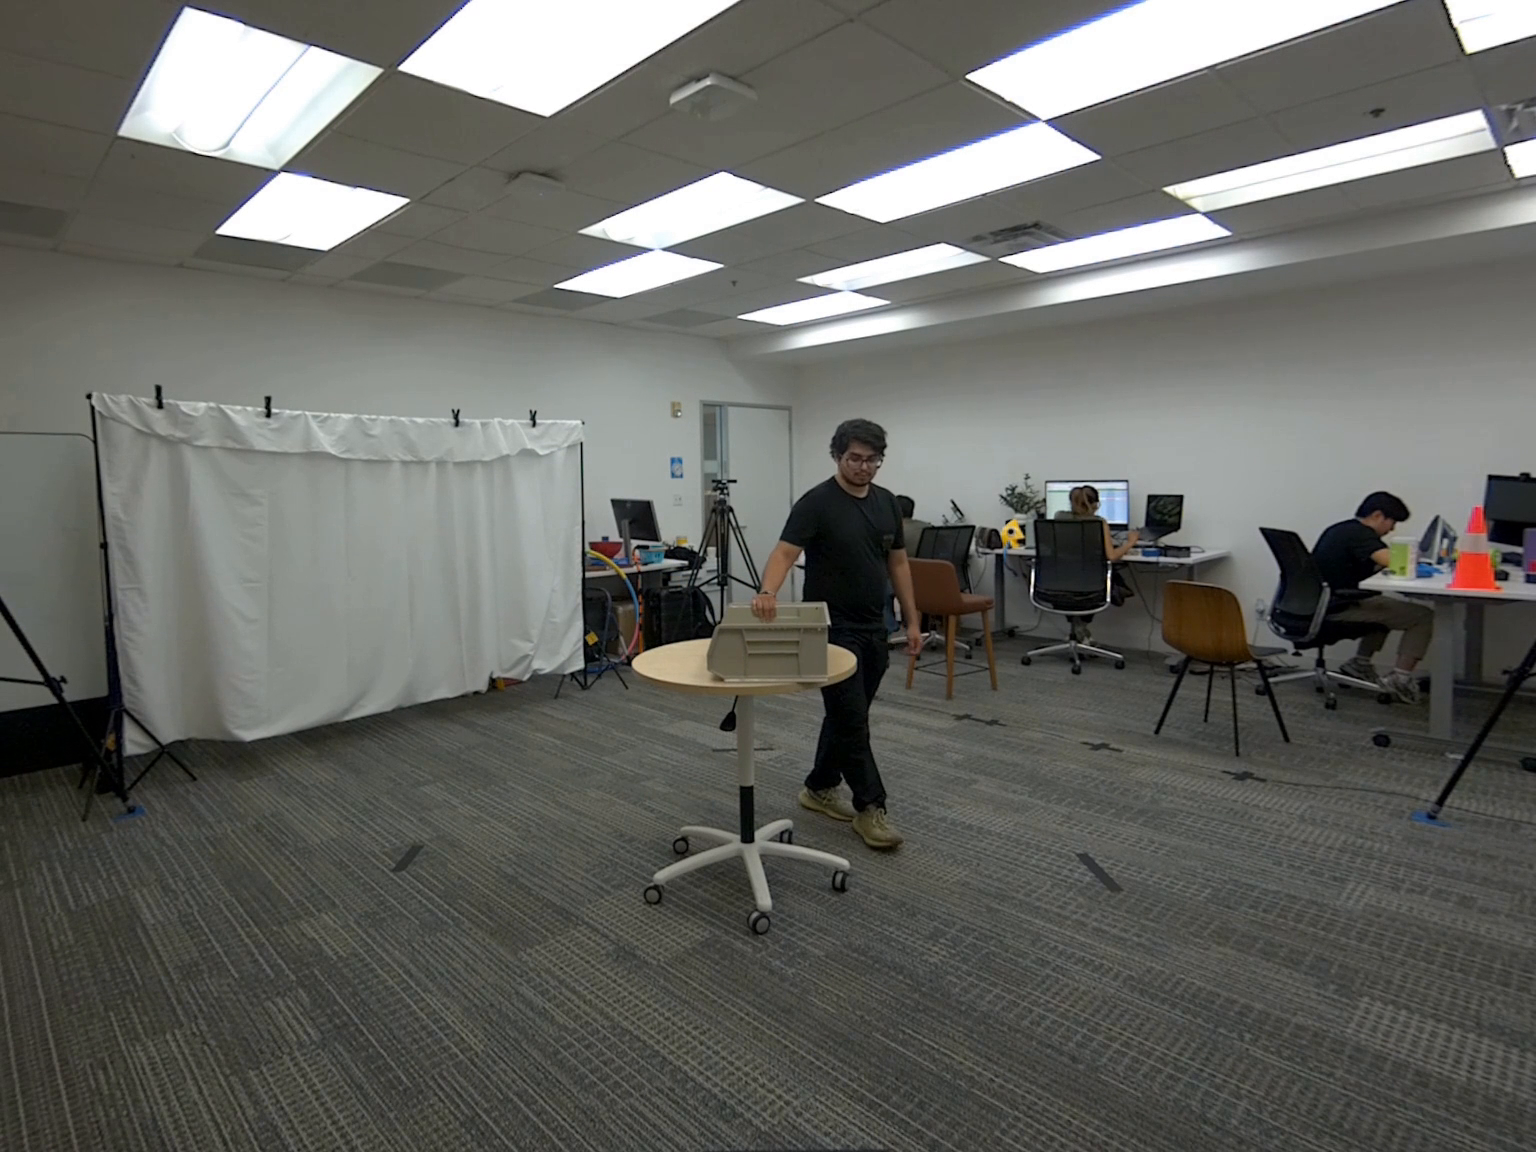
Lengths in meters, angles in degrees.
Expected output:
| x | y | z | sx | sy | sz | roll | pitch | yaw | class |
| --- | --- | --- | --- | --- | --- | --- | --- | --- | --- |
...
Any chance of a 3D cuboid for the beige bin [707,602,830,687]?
| x | y | z | sx | sy | sz | roll | pitch | yaw | class |
| --- | --- | --- | --- | --- | --- | --- | --- | --- | --- |
| 0.004 | 0.212 | 2.788 | 0.379 | 0.188 | 0.422 | 0 | 7 | 5 | beige bin |
